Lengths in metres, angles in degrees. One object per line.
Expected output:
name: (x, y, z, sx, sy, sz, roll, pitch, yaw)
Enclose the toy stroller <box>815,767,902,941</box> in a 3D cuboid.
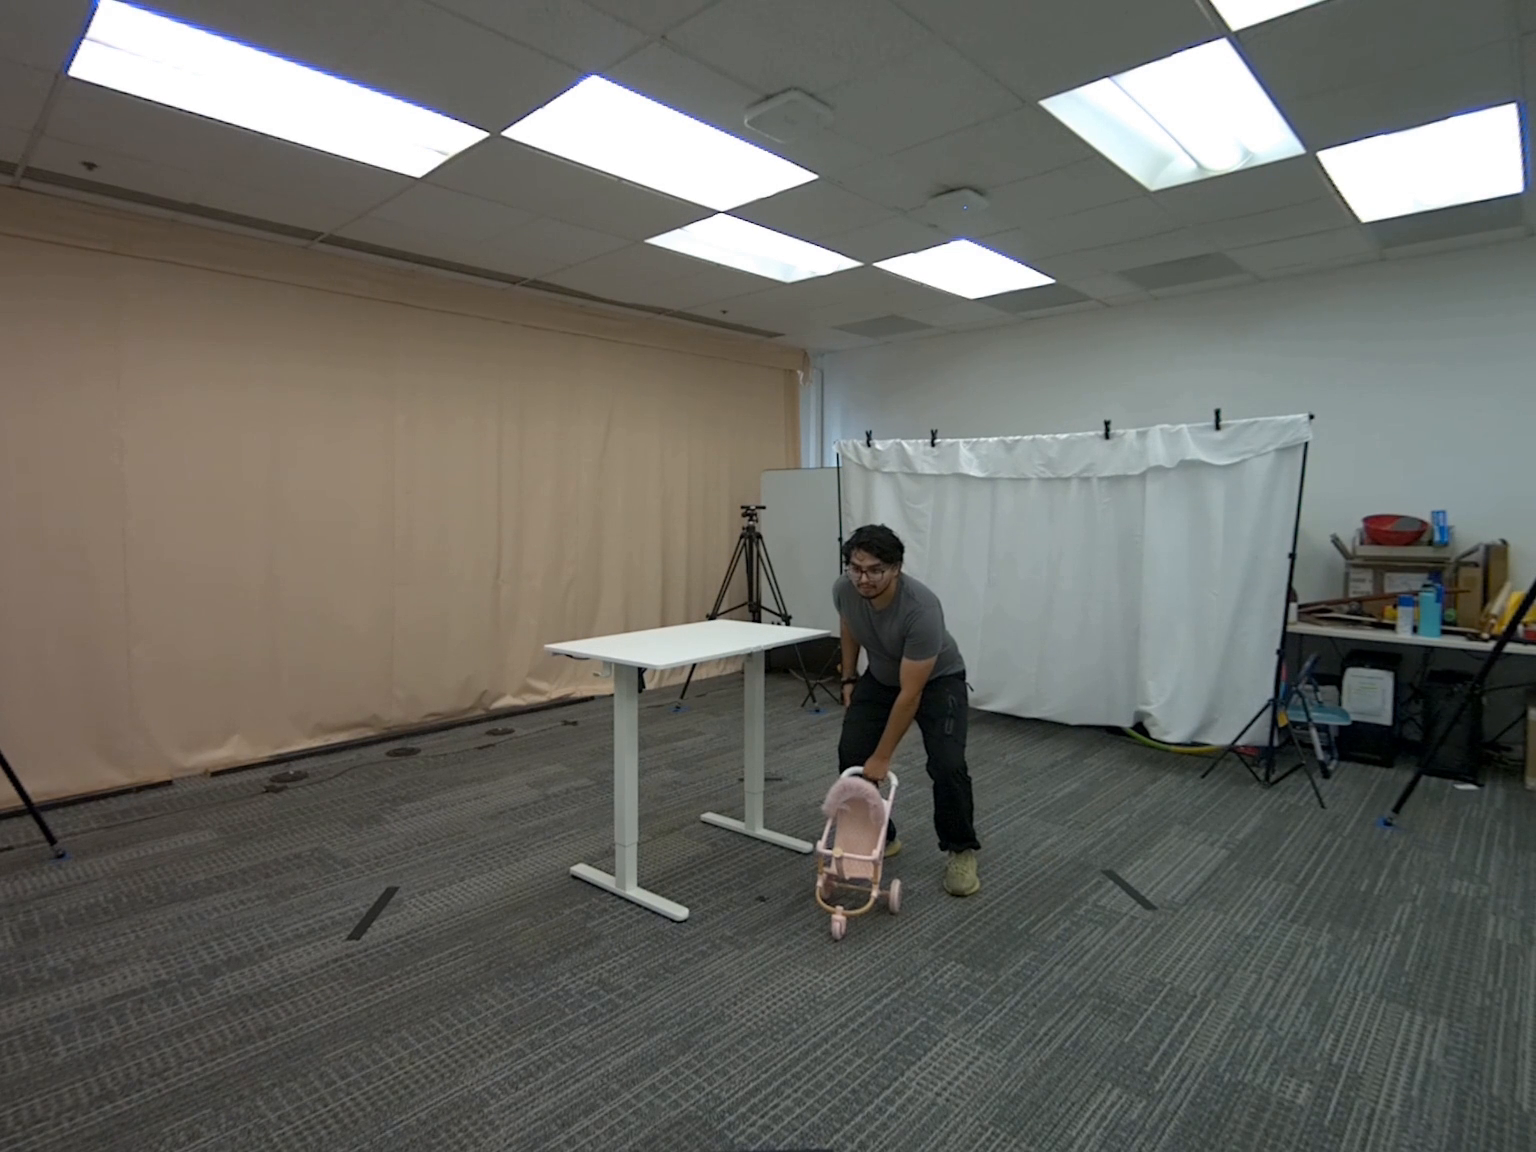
toy stroller: (0.296, 0.927, 2.863, 0.289, 0.538, 0.330, 1, -11, 27)
